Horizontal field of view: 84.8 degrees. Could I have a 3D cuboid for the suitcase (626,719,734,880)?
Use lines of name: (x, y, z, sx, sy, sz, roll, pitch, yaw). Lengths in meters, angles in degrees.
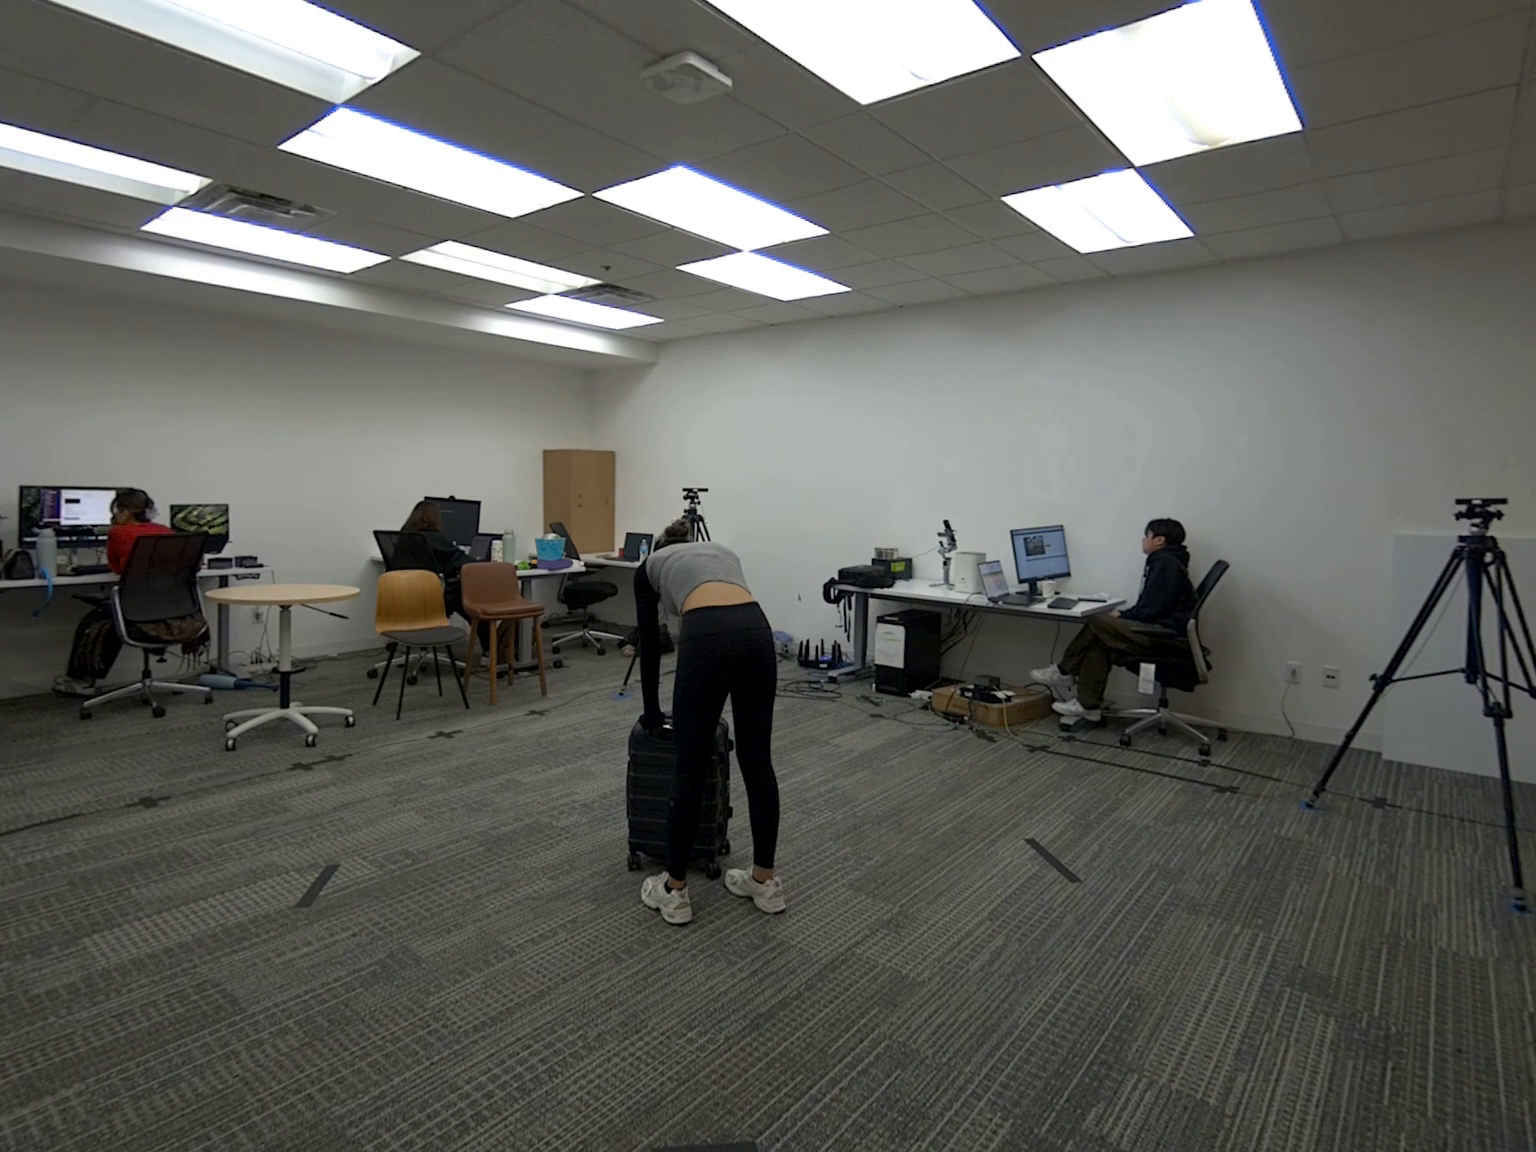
suitcase: (-0.344, 0.786, 3.184, 0.380, 0.549, 0.245, 1, 1, 12)
